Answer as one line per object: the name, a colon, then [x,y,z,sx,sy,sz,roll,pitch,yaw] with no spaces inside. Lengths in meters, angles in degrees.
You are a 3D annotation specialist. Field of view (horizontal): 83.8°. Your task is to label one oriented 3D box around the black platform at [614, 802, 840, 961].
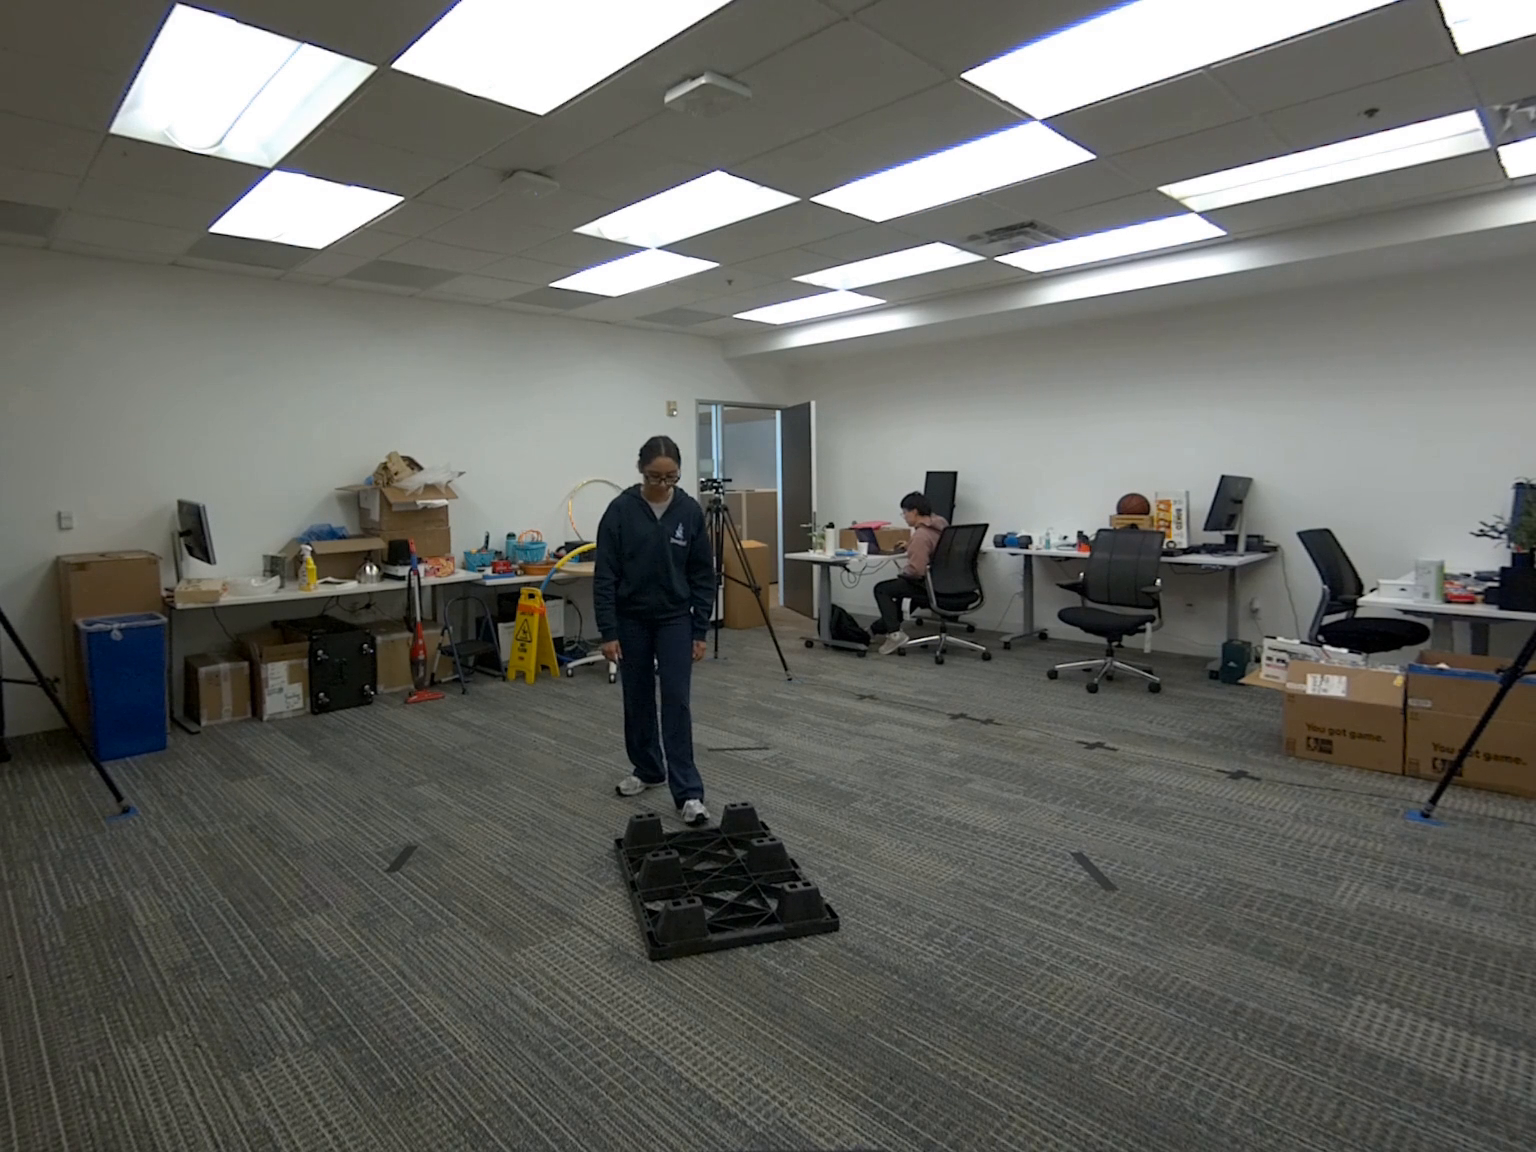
black platform: [-0.175,0.996,2.933,0.596,0.142,0.822,-4,7,-17]
